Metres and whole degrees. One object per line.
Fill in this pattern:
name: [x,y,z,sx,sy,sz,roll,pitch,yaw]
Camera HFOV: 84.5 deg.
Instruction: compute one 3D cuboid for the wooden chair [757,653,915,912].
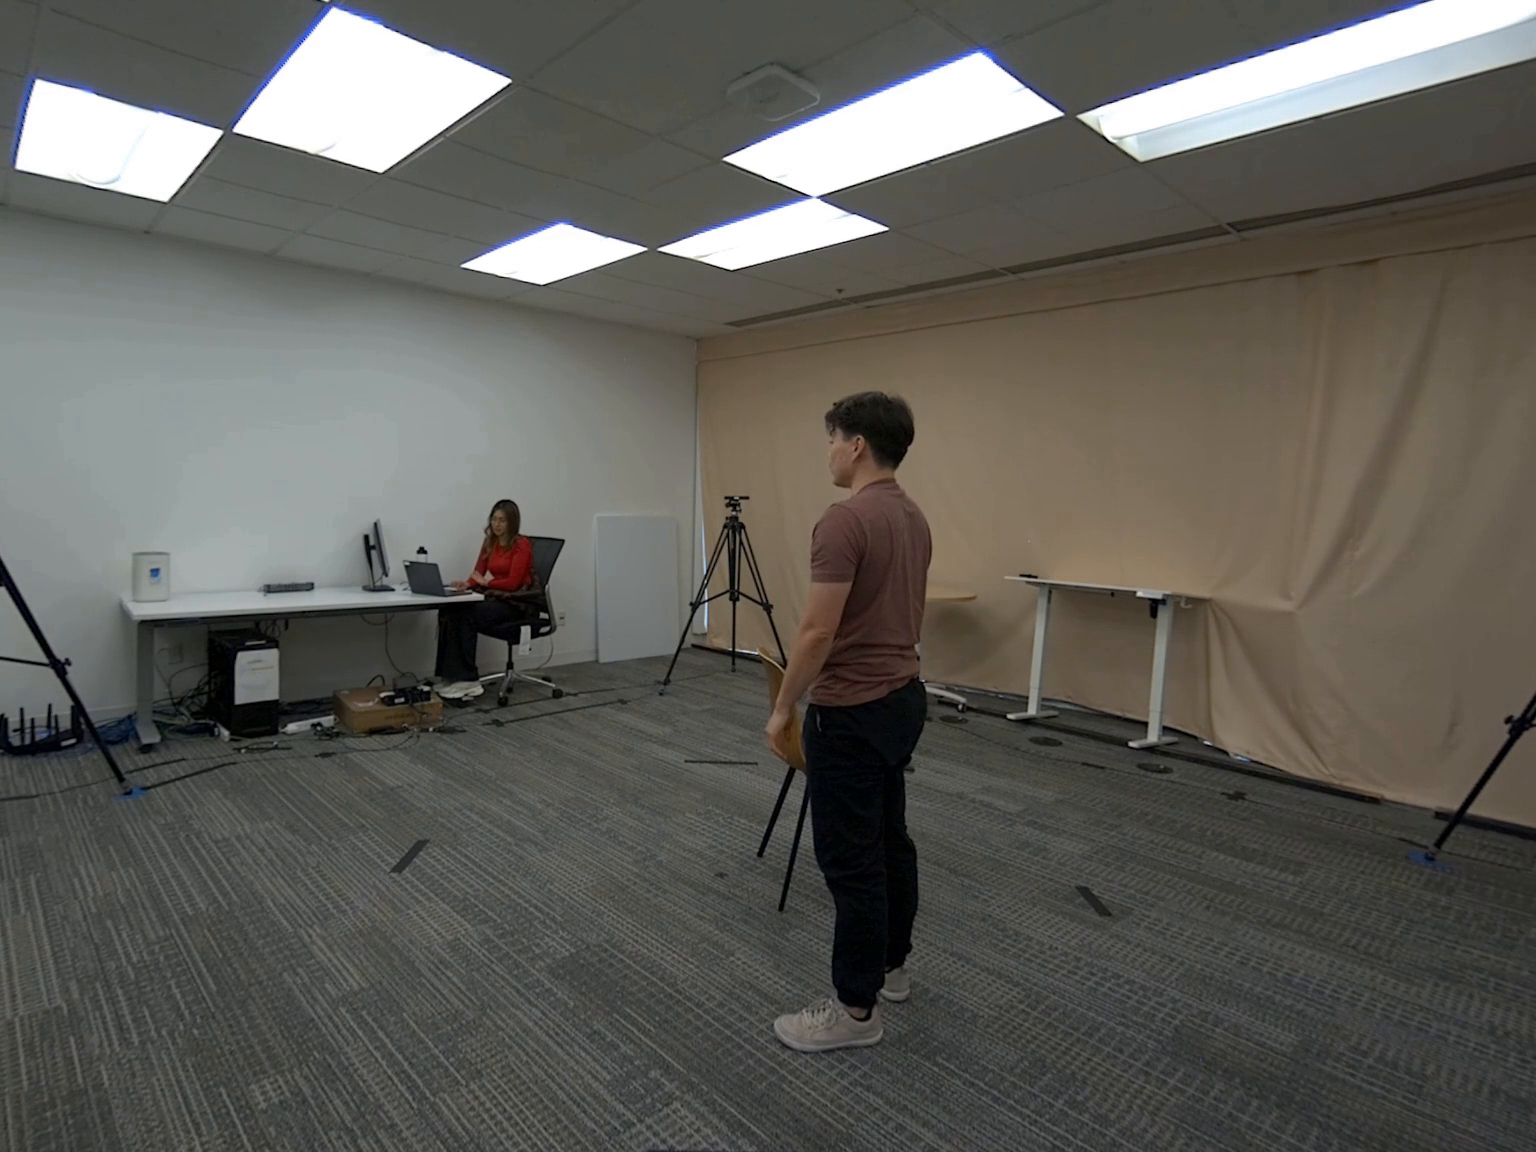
wooden chair: [0.236,0.692,3.055,0.520,0.875,0.483,-3,4,-9]
